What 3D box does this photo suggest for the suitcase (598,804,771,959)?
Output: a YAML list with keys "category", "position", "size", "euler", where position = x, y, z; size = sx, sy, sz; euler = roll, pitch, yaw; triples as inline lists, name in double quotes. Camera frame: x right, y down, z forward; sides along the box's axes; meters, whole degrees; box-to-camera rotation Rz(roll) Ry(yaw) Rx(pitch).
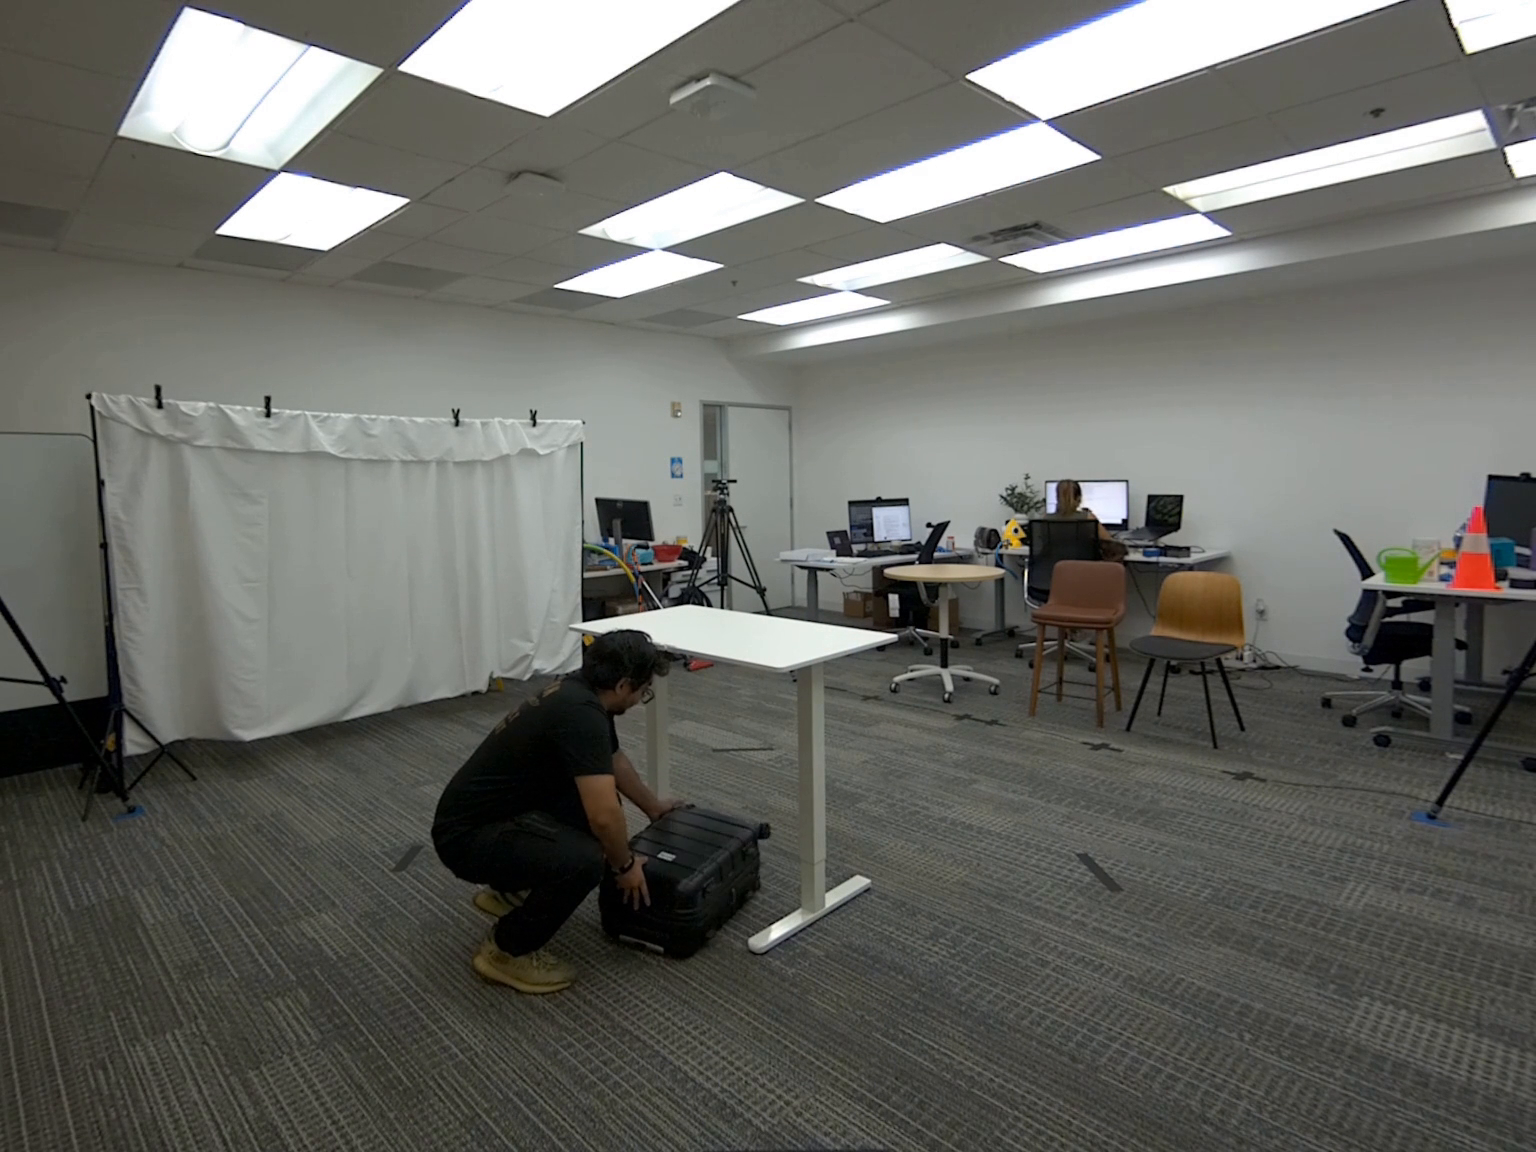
- category: "suitcase"
  position: [-0.263, 0.956, 2.758]
  size: [0.385, 0.247, 0.539]
  euler: [7, 9, 24]
